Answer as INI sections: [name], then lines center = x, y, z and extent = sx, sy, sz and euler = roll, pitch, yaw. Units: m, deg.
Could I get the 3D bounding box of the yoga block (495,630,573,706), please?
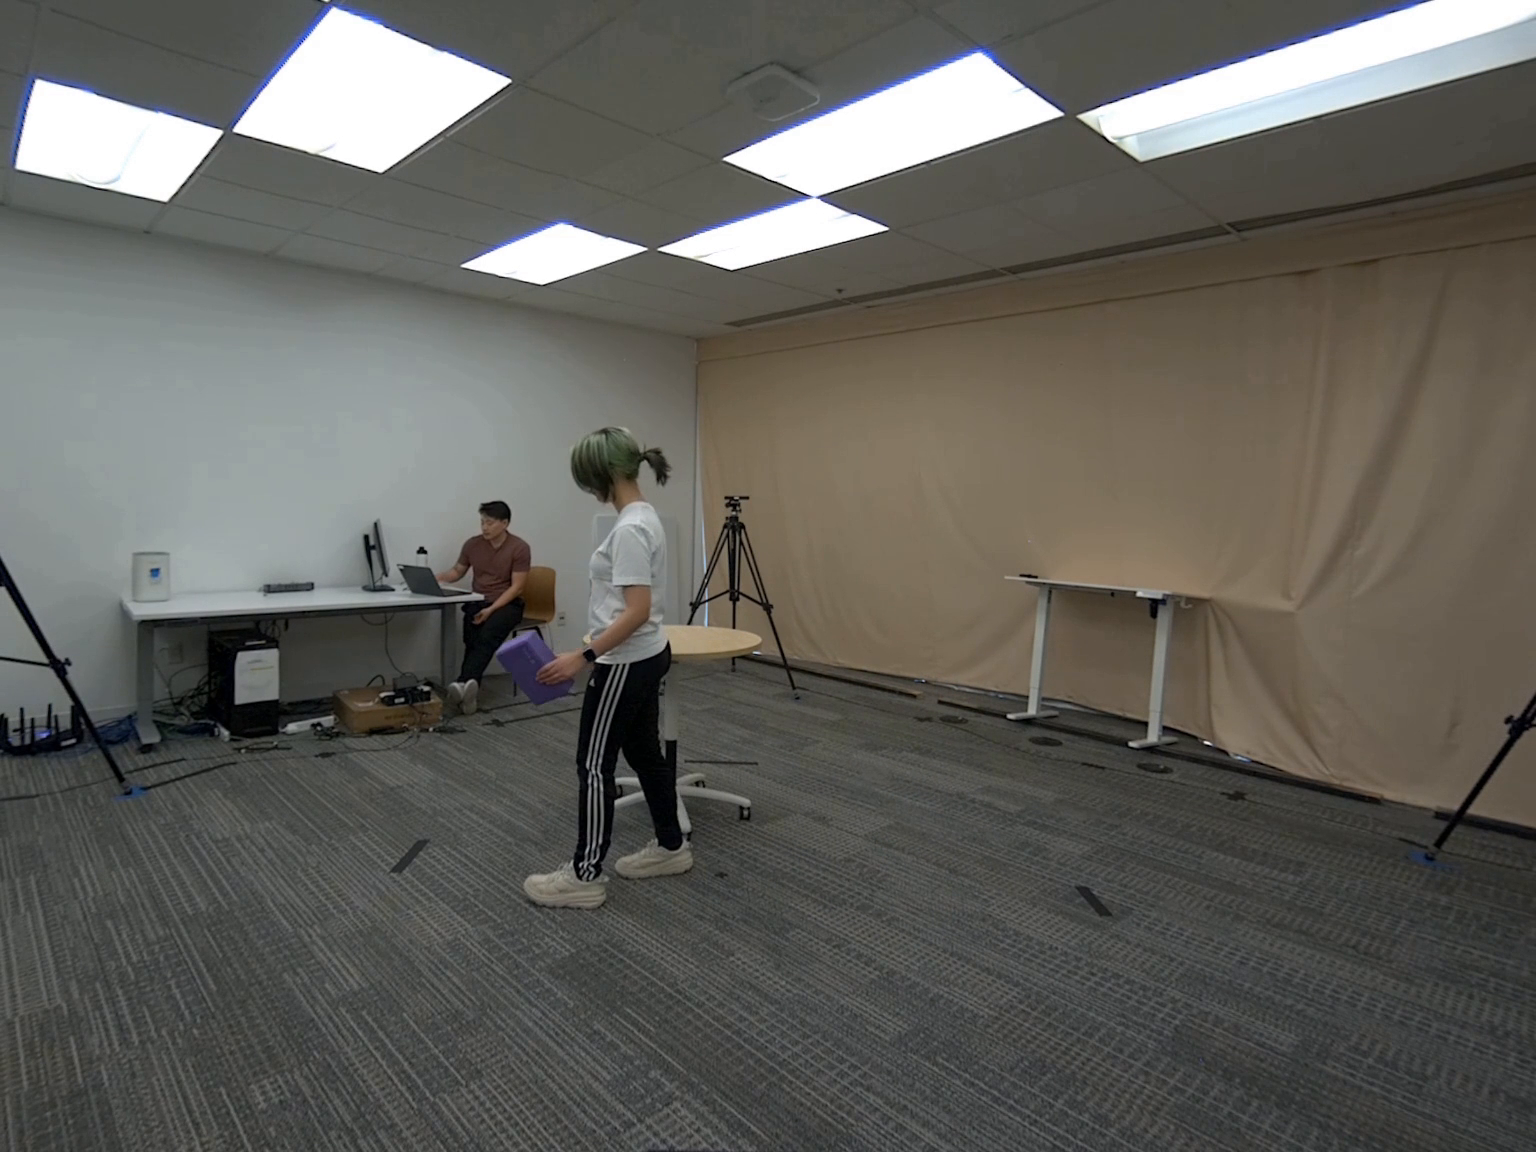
[yoga block]
center = -0.761, 0.293, 2.735
extent = 0.150, 0.225, 0.077
euler = -24, 18, 25
